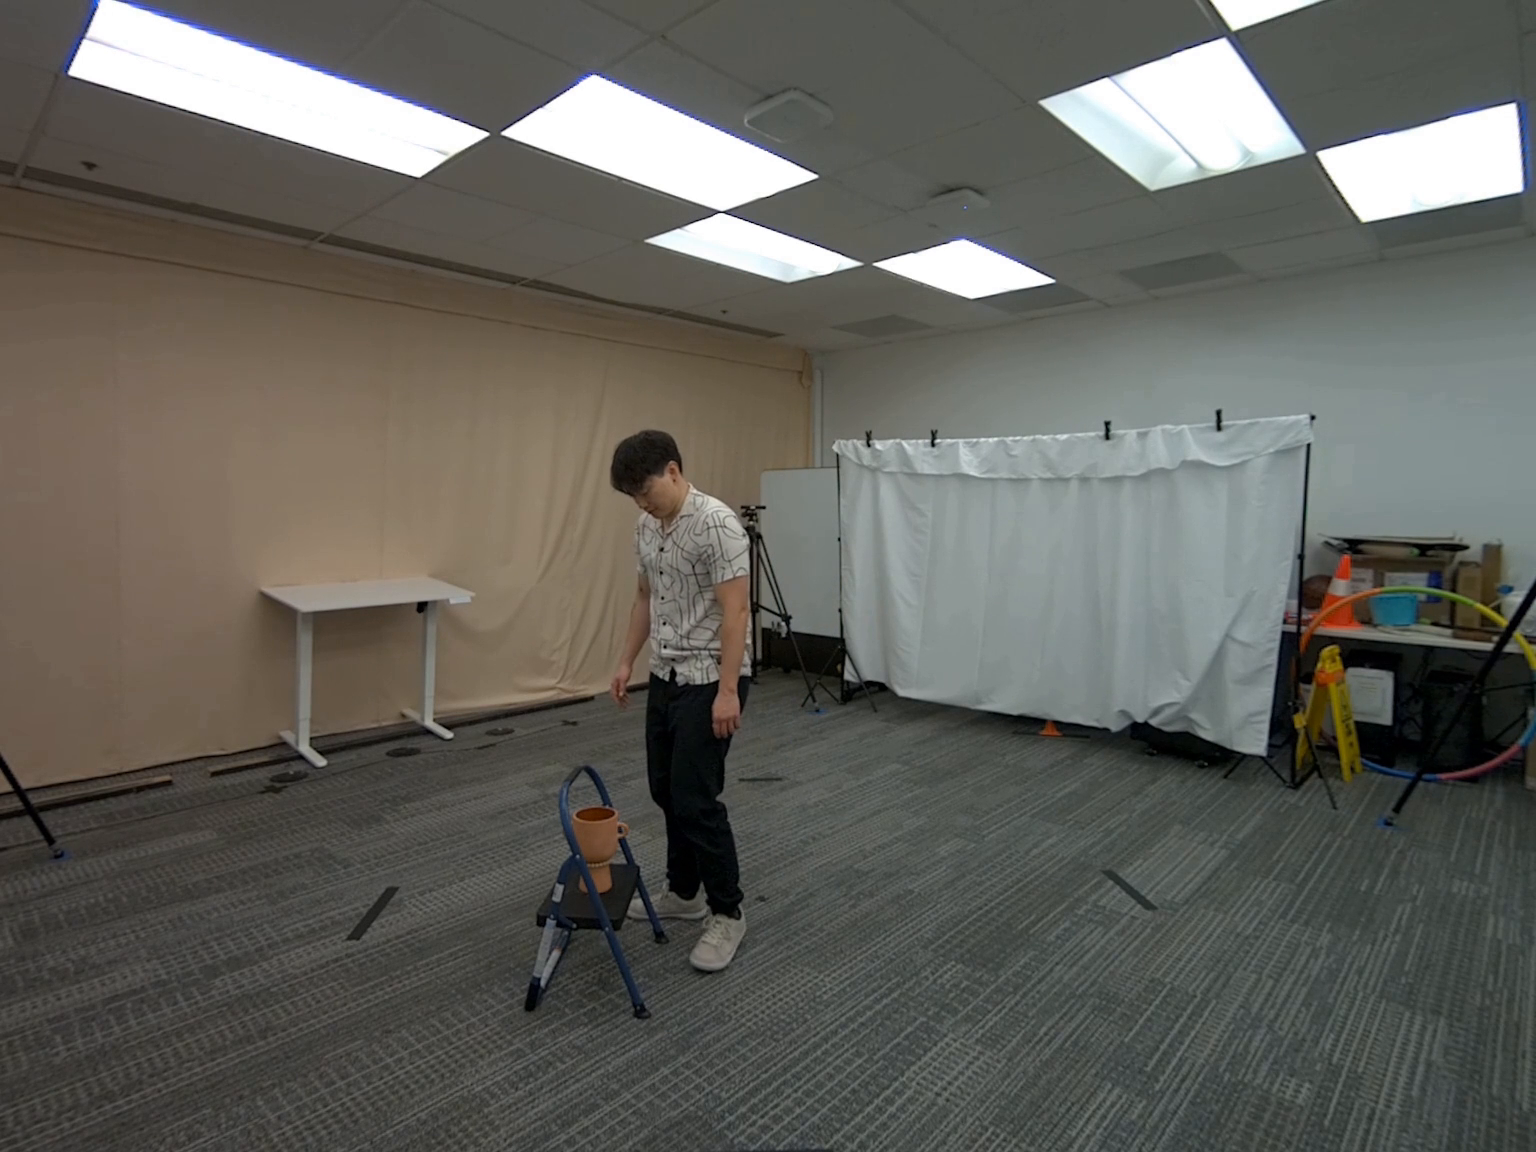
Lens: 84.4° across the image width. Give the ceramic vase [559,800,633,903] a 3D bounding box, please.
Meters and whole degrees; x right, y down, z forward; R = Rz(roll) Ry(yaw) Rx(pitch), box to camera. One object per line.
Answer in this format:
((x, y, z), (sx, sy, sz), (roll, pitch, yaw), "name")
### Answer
((-0.510, 0.808, 2.504), (0.164, 0.219, 0.131), (3, 5, 37), "ceramic vase")
